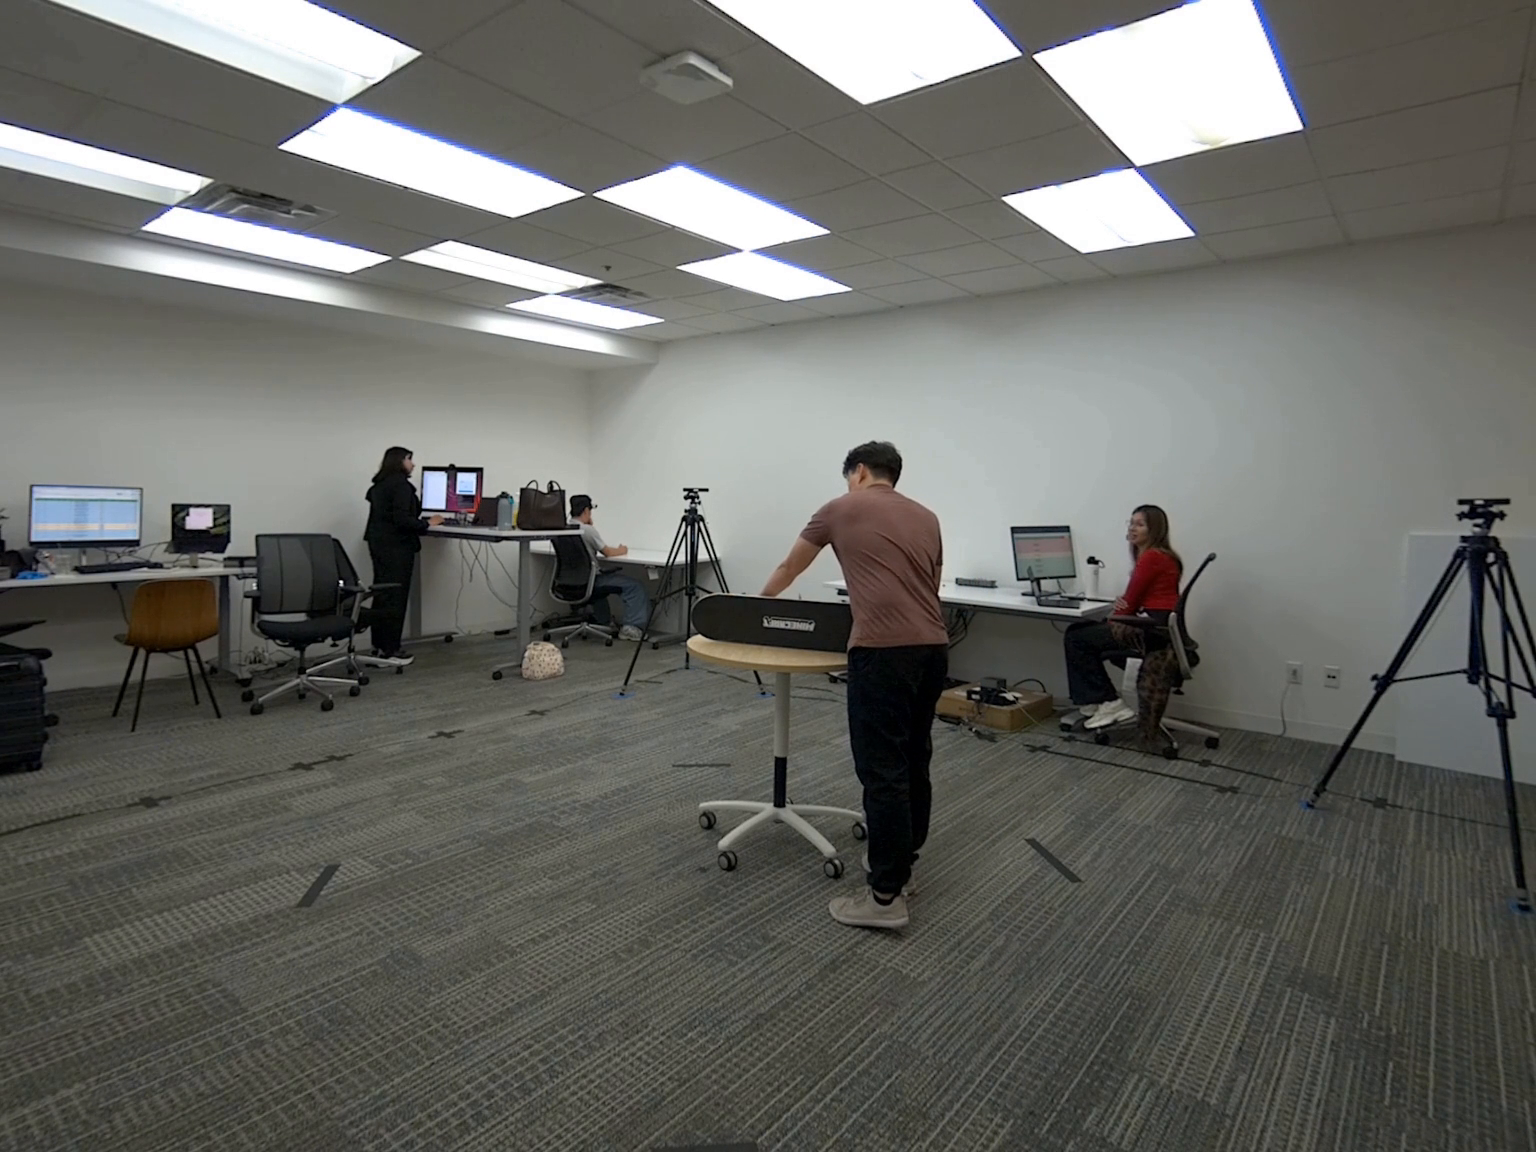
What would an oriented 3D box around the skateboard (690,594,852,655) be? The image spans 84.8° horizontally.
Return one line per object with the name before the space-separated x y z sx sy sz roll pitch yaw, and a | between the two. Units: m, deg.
skateboard | 0.070 0.177 3.282 0.803 0.192 0.108 4 6 20
